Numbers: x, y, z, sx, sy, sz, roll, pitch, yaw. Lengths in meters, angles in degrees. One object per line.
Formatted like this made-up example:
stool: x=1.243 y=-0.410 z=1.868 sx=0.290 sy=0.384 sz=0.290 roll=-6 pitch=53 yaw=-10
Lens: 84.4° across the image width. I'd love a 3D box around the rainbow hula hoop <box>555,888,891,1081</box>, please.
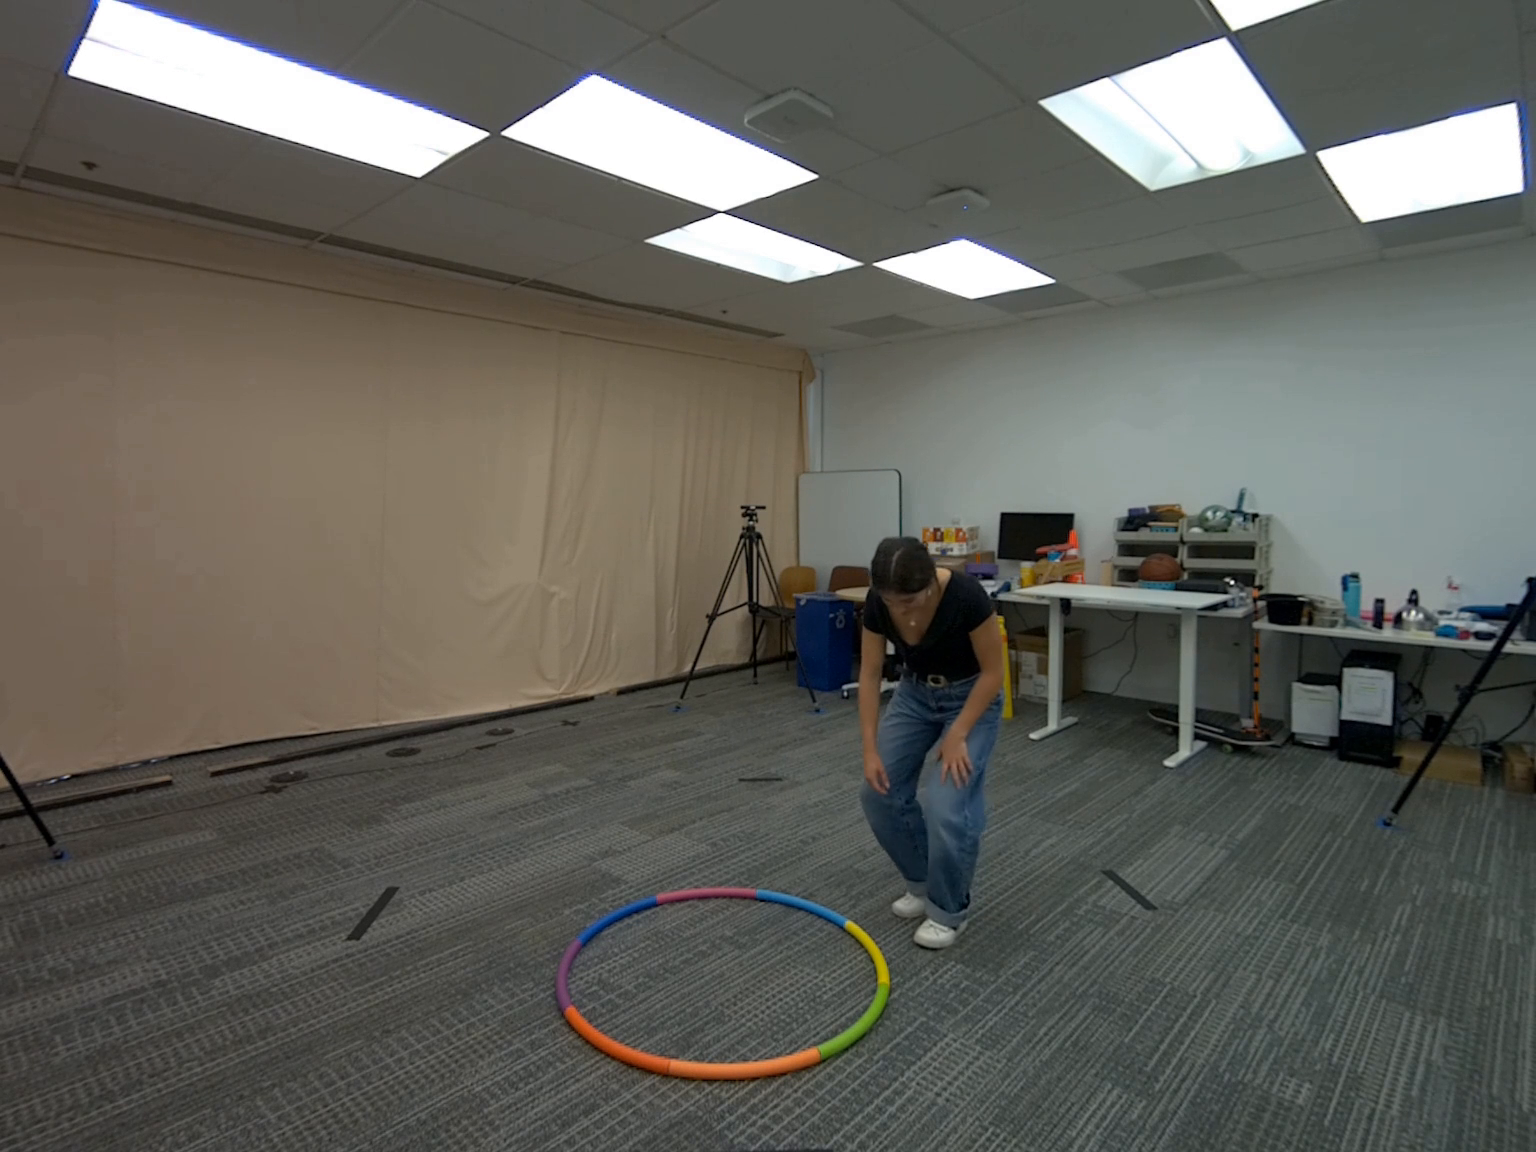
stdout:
rainbow hula hoop: x=-0.126 y=1.155 z=2.526 sx=0.978 sy=0.035 sz=0.982 roll=0 pitch=5 yaw=-2
